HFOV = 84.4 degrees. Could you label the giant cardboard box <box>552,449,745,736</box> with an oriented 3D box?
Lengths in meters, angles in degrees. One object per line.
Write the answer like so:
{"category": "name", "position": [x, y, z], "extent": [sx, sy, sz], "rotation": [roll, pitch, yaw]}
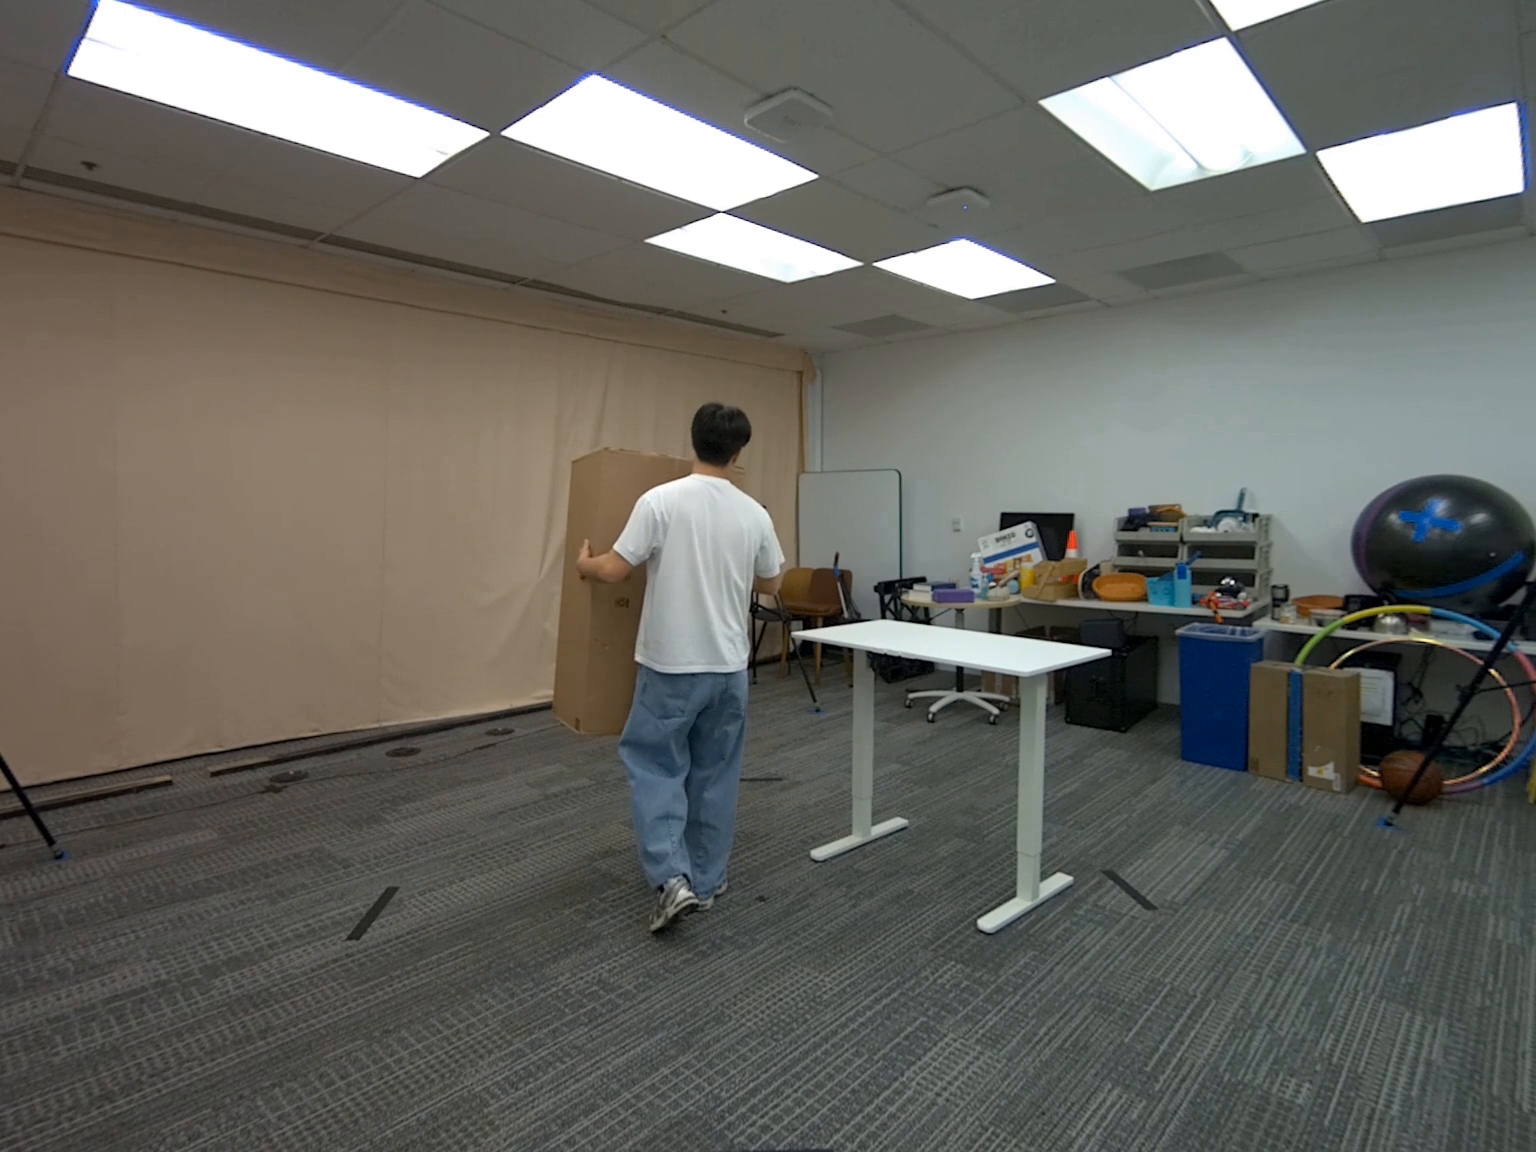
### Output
{"category": "giant cardboard box", "position": [-0.469, 0.069, 3.267], "extent": [0.563, 1.027, 0.436], "rotation": [5, -2, -24]}
